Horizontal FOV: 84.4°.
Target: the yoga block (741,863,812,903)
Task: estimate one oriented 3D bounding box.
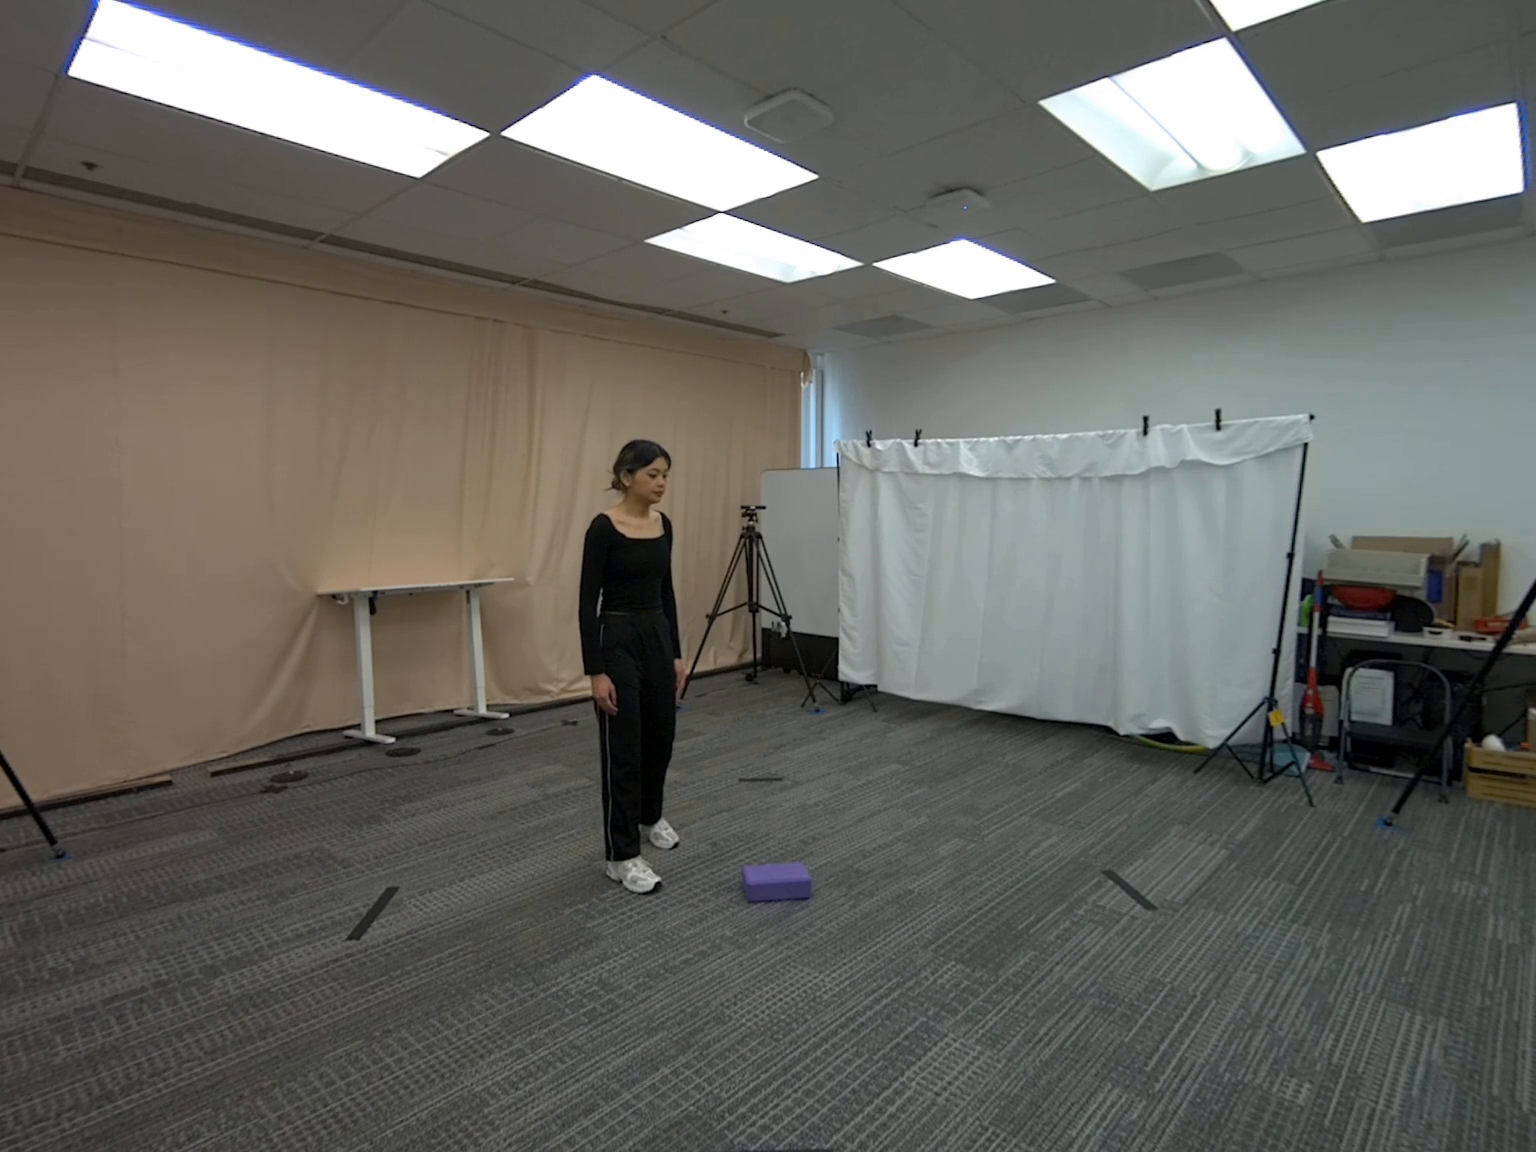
[{"bbox_3d":[0.033,1.099,3.028,0.227,0.076,0.151,-1,5,-8],"label":"yoga block"}]
